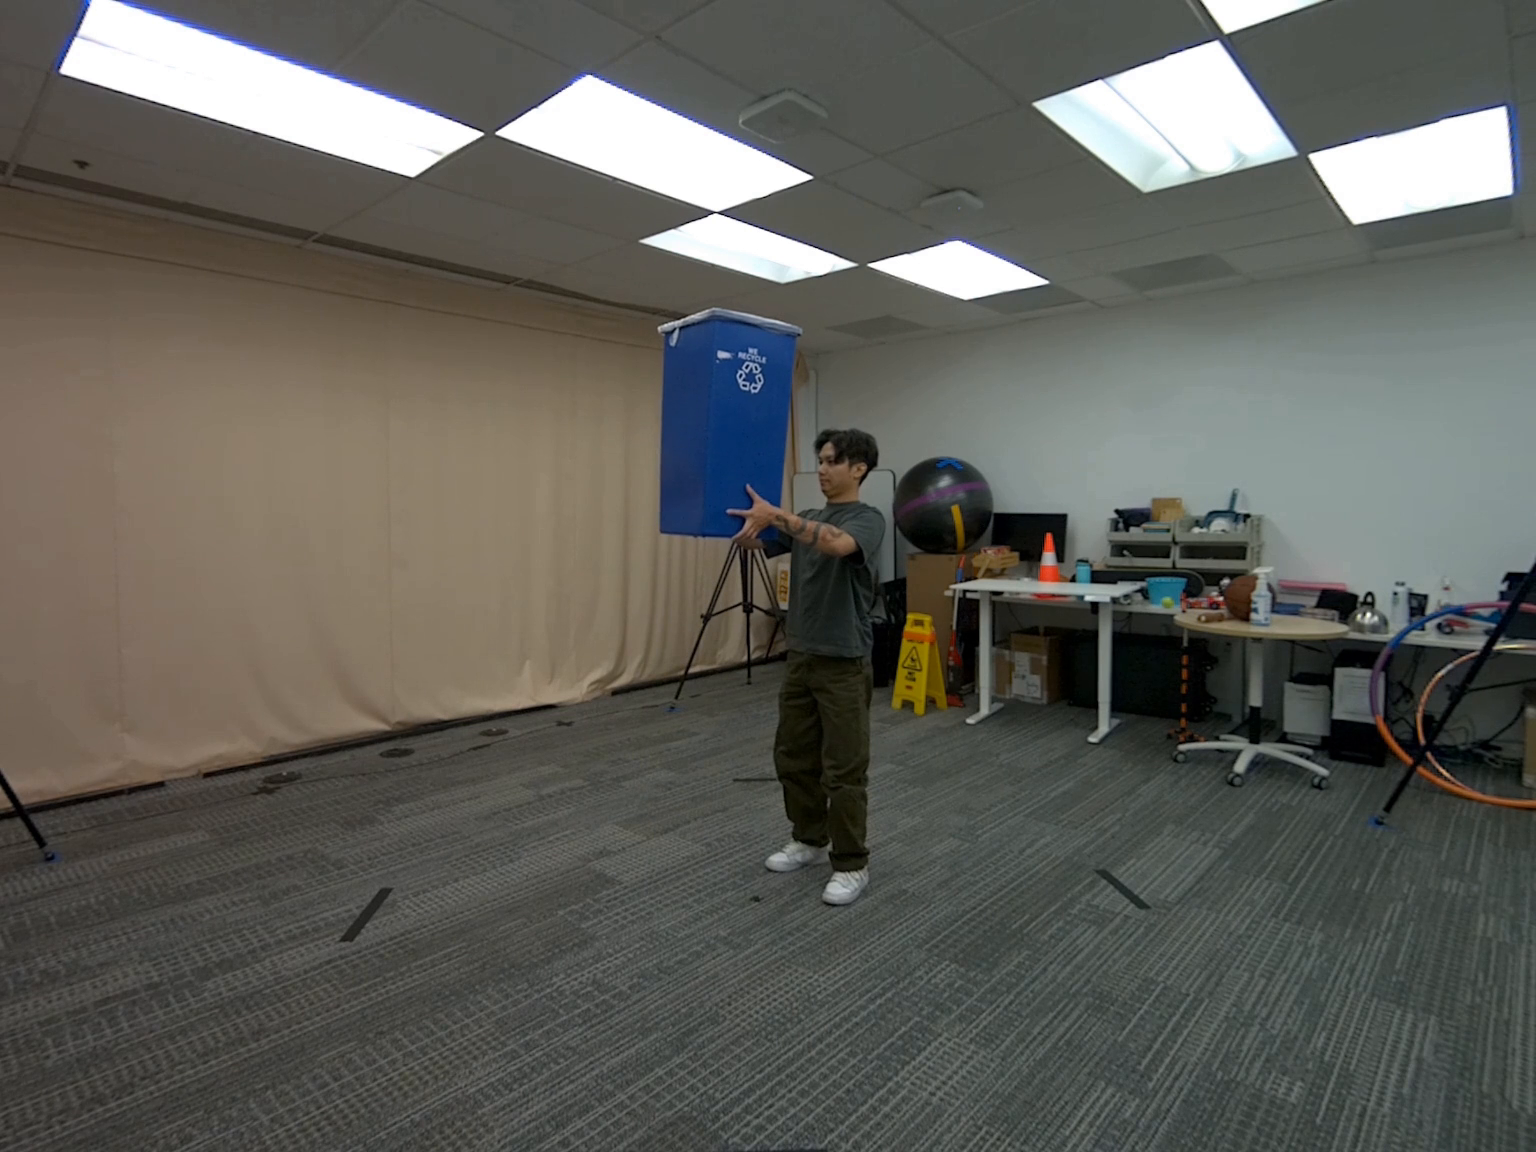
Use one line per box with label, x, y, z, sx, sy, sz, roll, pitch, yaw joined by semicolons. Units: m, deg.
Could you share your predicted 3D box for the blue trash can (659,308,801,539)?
blue trash can;-0.141;-0.497;2.861;0.366;0.713;0.386;2;1;-36
